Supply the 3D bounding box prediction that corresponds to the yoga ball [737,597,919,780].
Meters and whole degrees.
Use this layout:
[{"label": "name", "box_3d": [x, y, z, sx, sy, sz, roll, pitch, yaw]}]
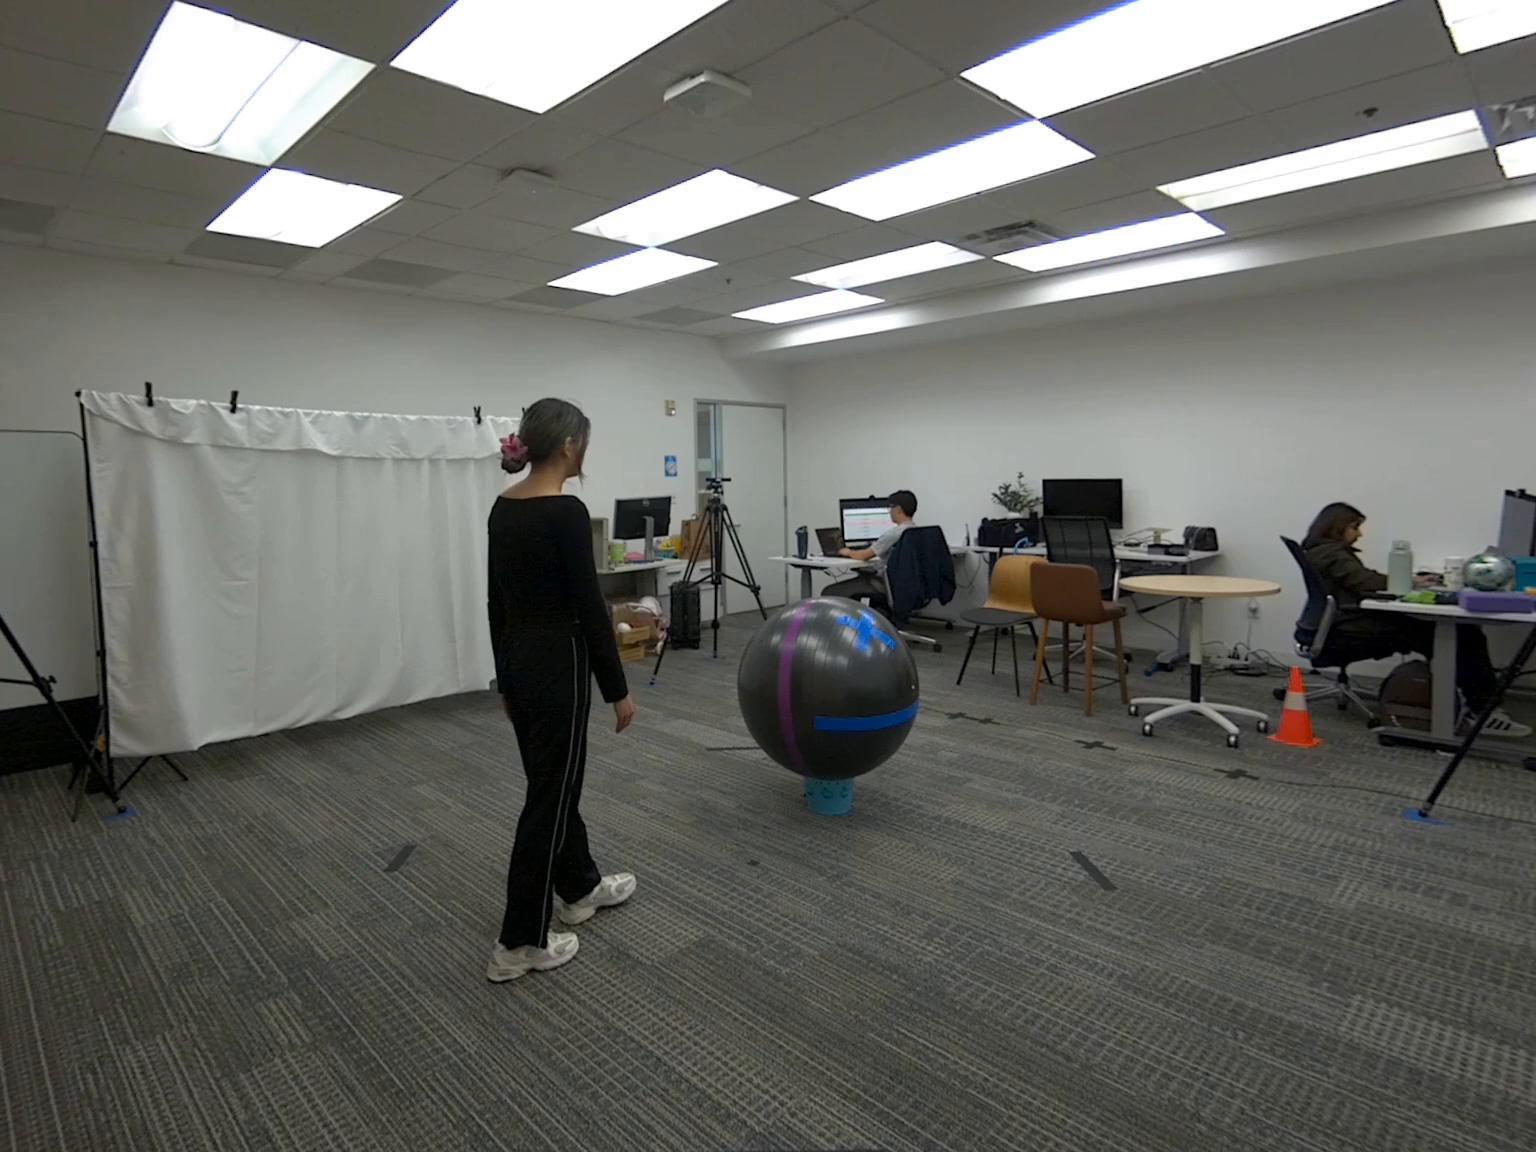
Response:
[{"label": "yoga ball", "box_3d": [0.248, 0.466, 3.603, 0.757, 0.755, 0.762, -1, 5, -2]}]
